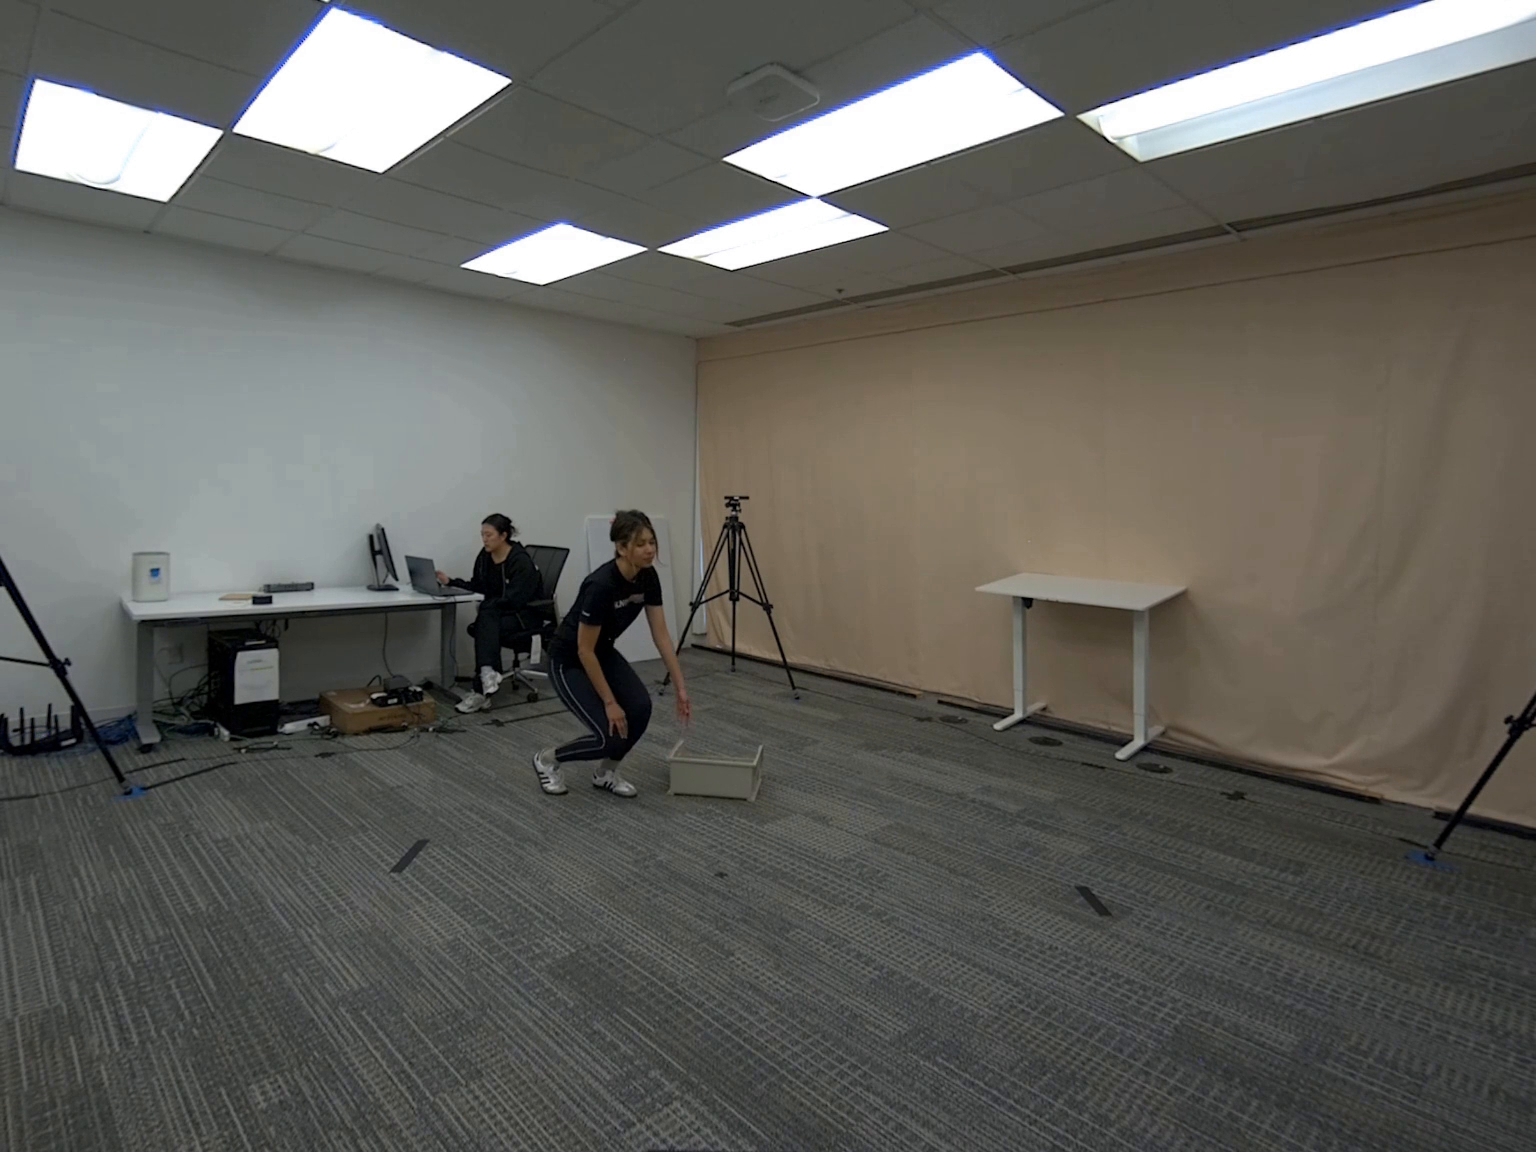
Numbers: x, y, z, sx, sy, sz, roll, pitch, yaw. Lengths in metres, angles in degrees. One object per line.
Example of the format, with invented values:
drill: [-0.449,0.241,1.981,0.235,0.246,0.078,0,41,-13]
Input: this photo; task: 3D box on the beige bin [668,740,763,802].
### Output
beige bin: [-0.258,0.931,4.090,0.425,0.188,0.376,2,5,6]
